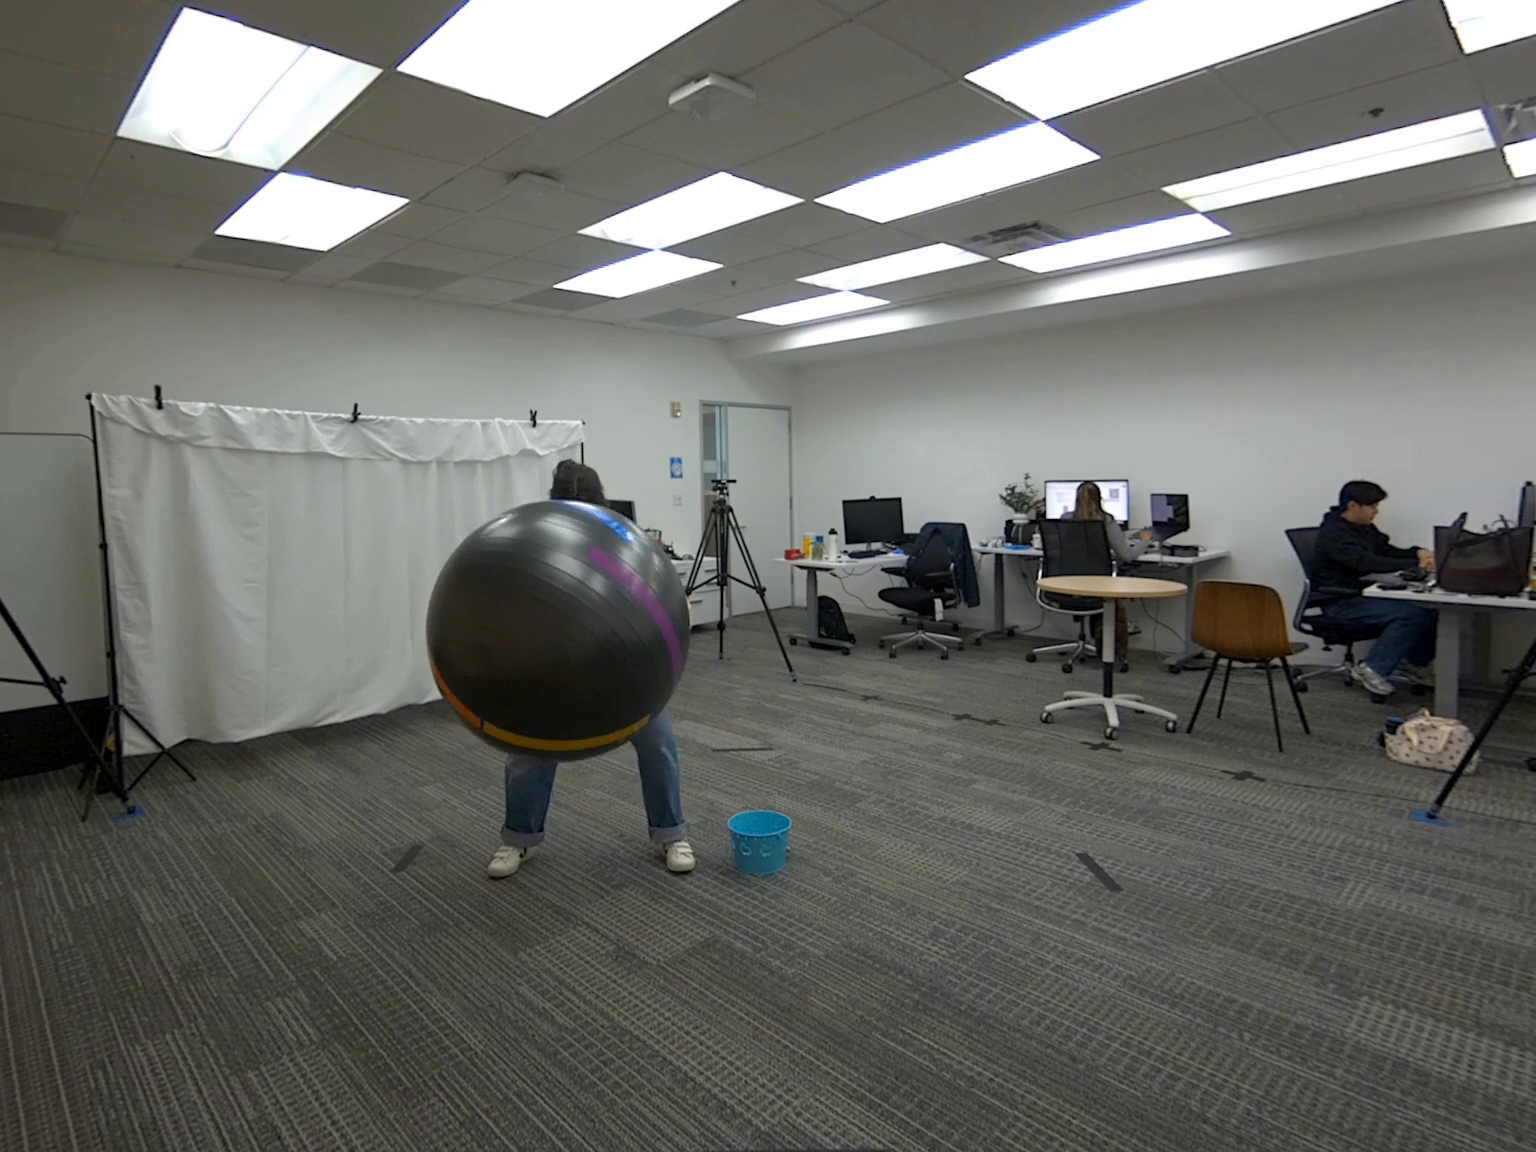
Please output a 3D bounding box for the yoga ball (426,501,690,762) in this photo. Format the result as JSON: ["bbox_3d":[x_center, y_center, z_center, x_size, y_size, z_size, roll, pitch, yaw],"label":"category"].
[{"bbox_3d":[-0.615,0.163,2.509,0.757,0.755,0.762,-1,5,-2],"label":"yoga ball"}]
